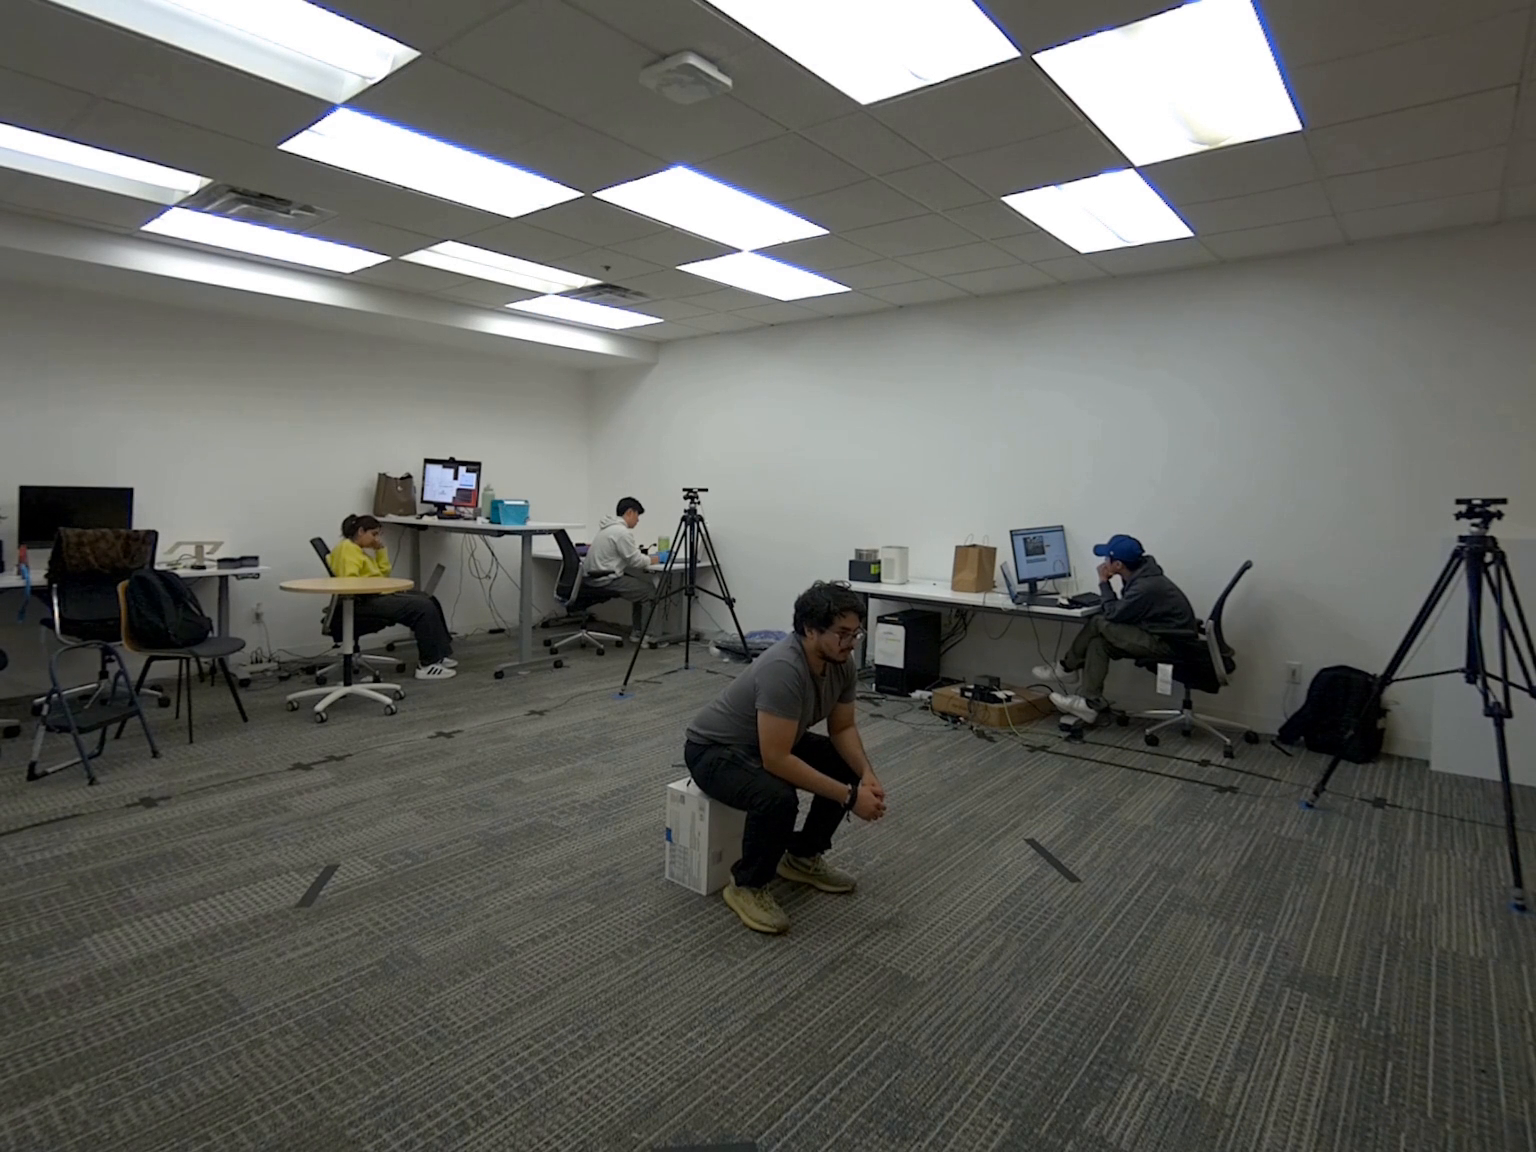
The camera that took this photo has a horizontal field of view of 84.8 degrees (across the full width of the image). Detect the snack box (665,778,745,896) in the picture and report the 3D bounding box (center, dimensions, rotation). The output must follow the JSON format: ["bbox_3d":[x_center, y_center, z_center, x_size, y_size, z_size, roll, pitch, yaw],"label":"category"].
[{"bbox_3d":[-0.173,0.904,3.109,0.212,0.339,0.393,5,6,39],"label":"snack box"}]
